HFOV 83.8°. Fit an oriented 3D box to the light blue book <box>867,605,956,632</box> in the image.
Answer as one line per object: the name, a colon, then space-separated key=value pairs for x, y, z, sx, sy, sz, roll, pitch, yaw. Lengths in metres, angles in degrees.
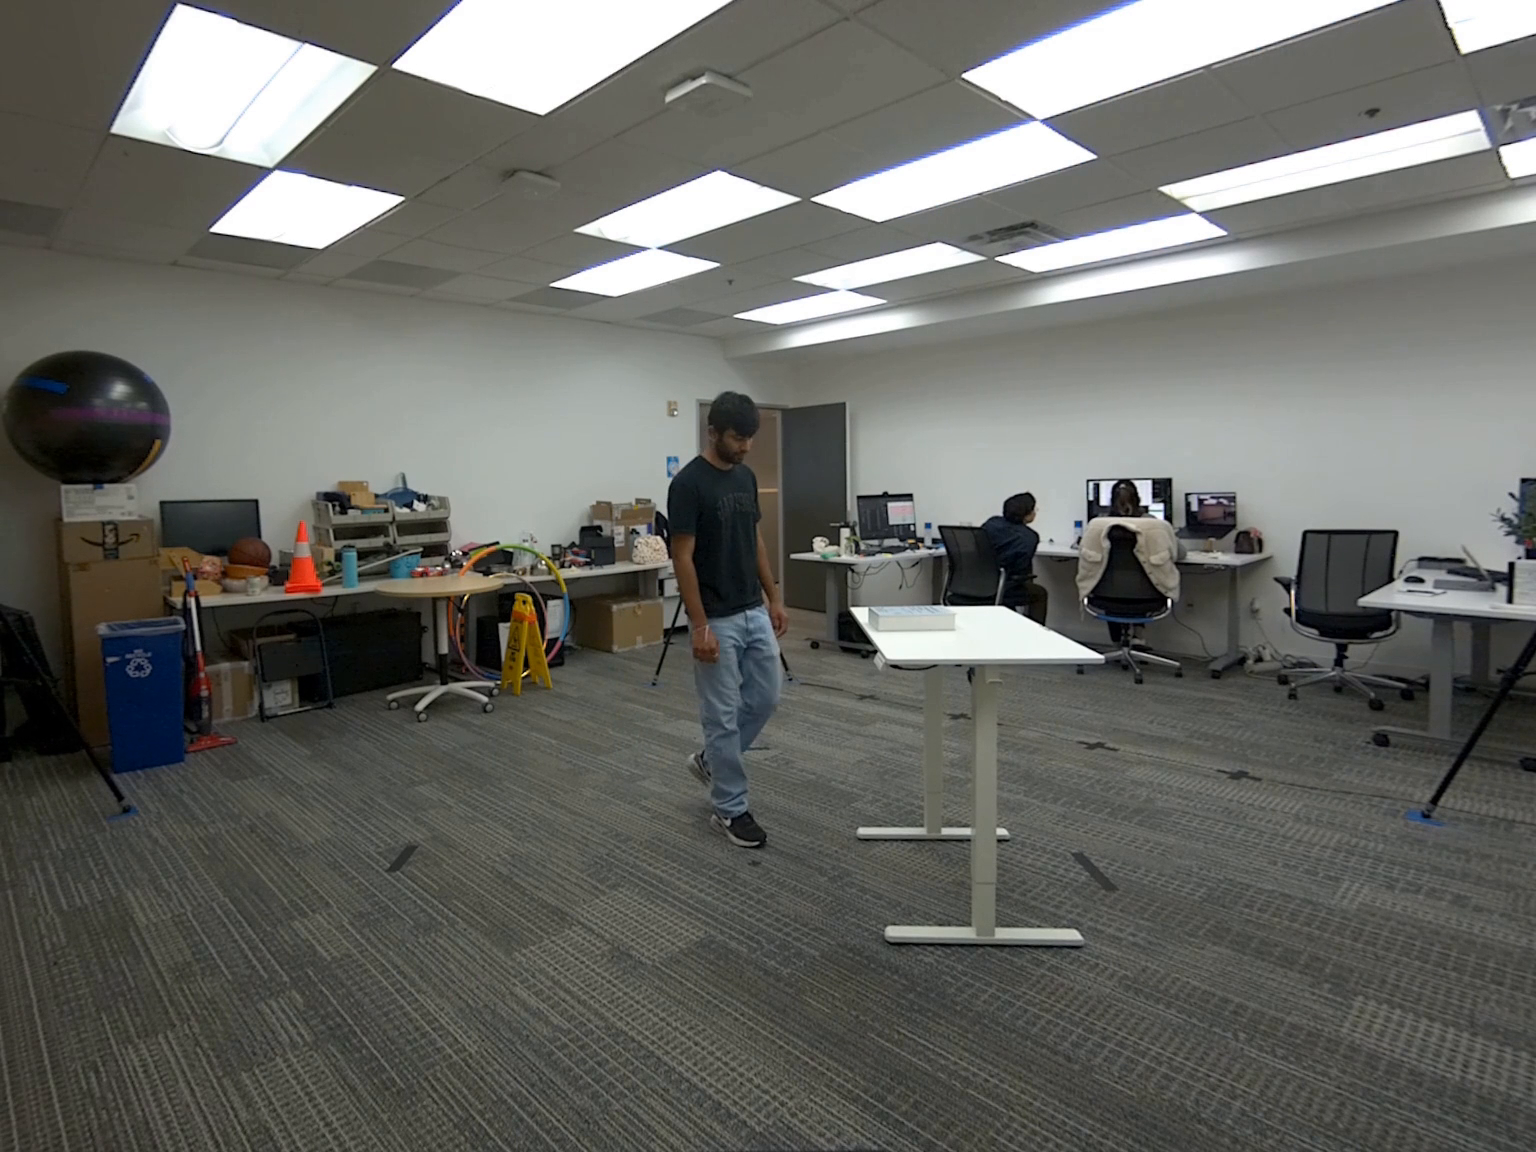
light blue book: x=0.488 y=0.143 z=2.925 sx=0.261 sy=0.059 sz=0.192 roll=-1 pitch=5 yaw=-1
